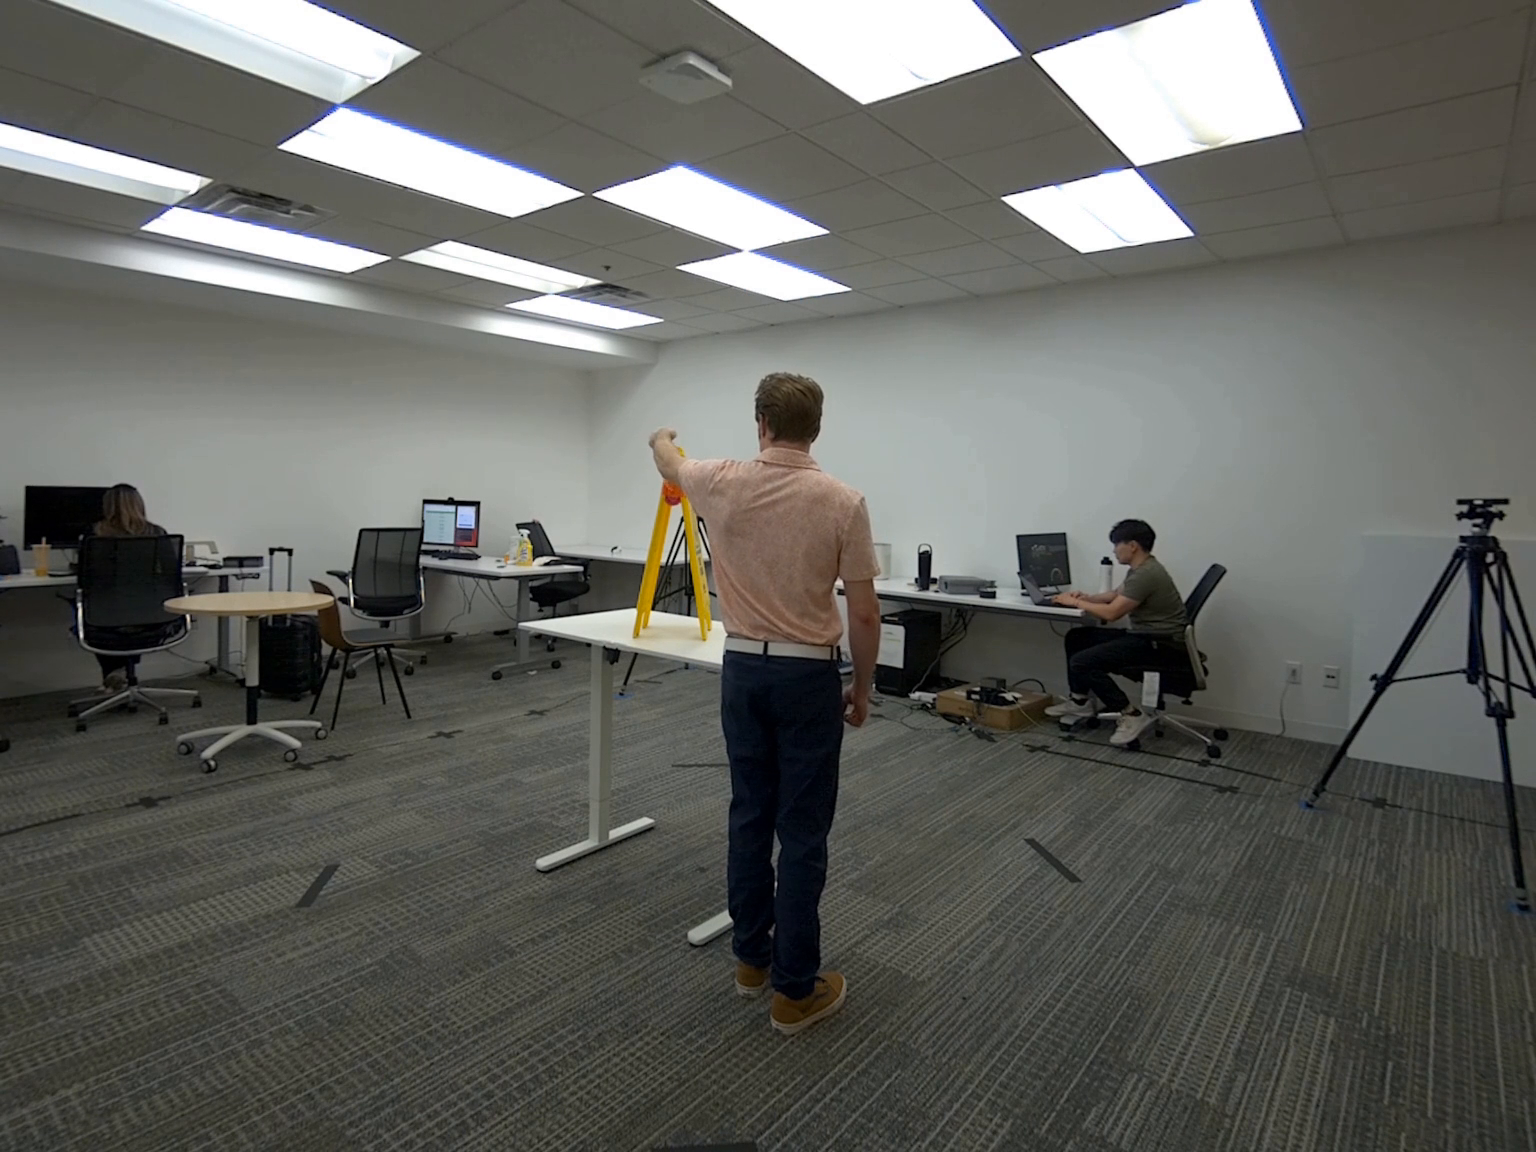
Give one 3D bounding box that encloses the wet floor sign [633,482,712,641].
[{"bbox_3d":[-0.330,-0.123,2.966,0.290,0.645,0.283,2,2,0],"label":"wet floor sign"}]
